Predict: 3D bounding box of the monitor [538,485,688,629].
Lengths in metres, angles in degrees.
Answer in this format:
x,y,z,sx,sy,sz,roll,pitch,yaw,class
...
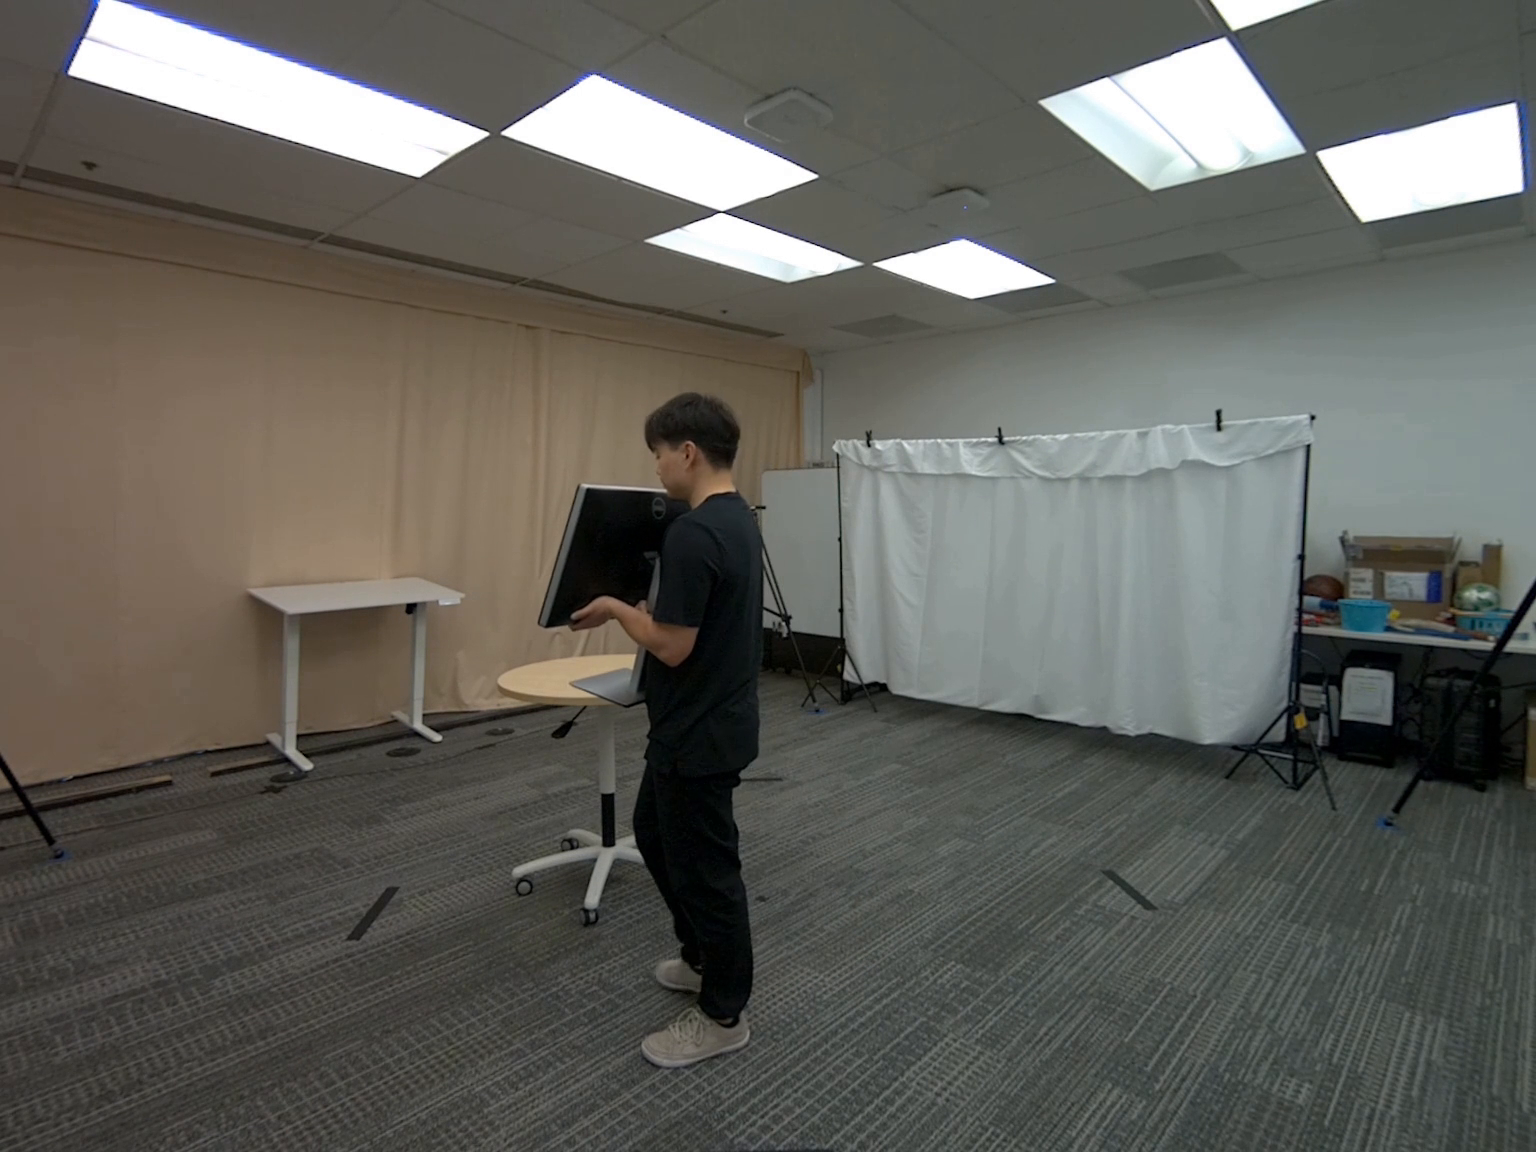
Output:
x,y,z,sx,sy,sz,roll,pitch,yaw,class
-0.338,0.037,2.219,0.193,0.521,0.524,11,7,28,monitor
